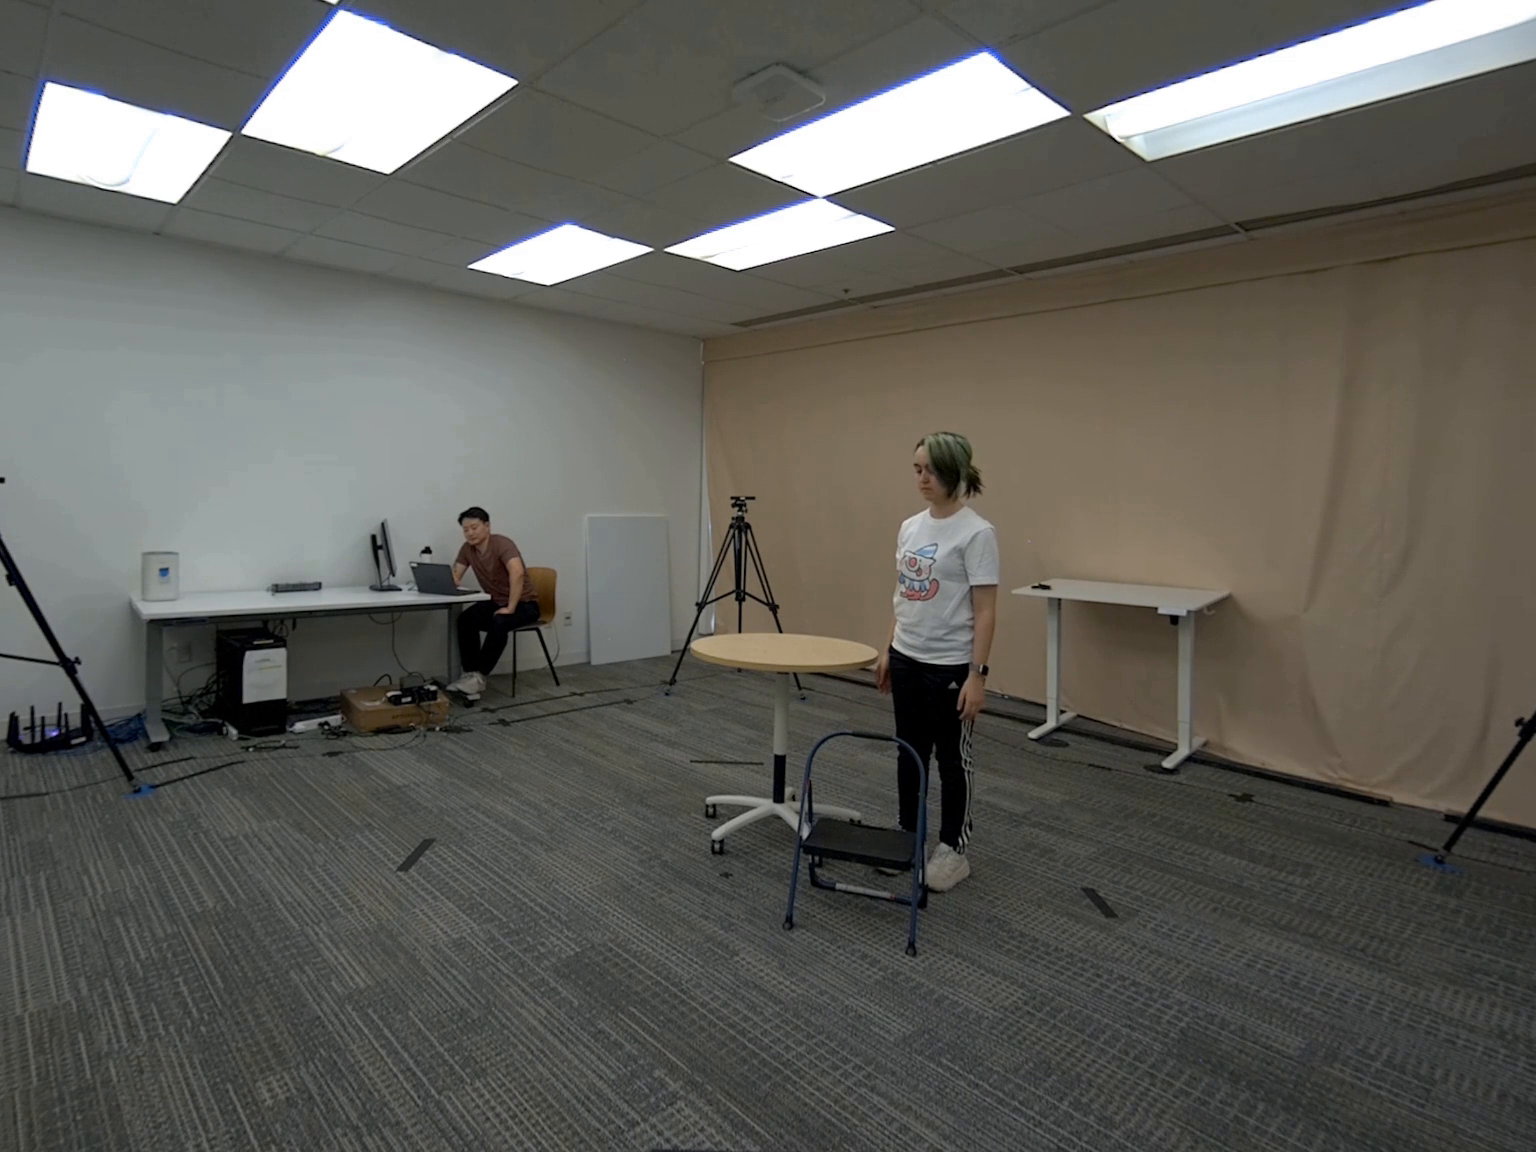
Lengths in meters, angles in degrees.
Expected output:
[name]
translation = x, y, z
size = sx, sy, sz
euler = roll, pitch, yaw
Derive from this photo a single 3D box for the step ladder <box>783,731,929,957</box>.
[step ladder]
translation = 0.305, 0.840, 2.802
size = 0.437, 0.604, 0.345
euler = 3, 4, 19
